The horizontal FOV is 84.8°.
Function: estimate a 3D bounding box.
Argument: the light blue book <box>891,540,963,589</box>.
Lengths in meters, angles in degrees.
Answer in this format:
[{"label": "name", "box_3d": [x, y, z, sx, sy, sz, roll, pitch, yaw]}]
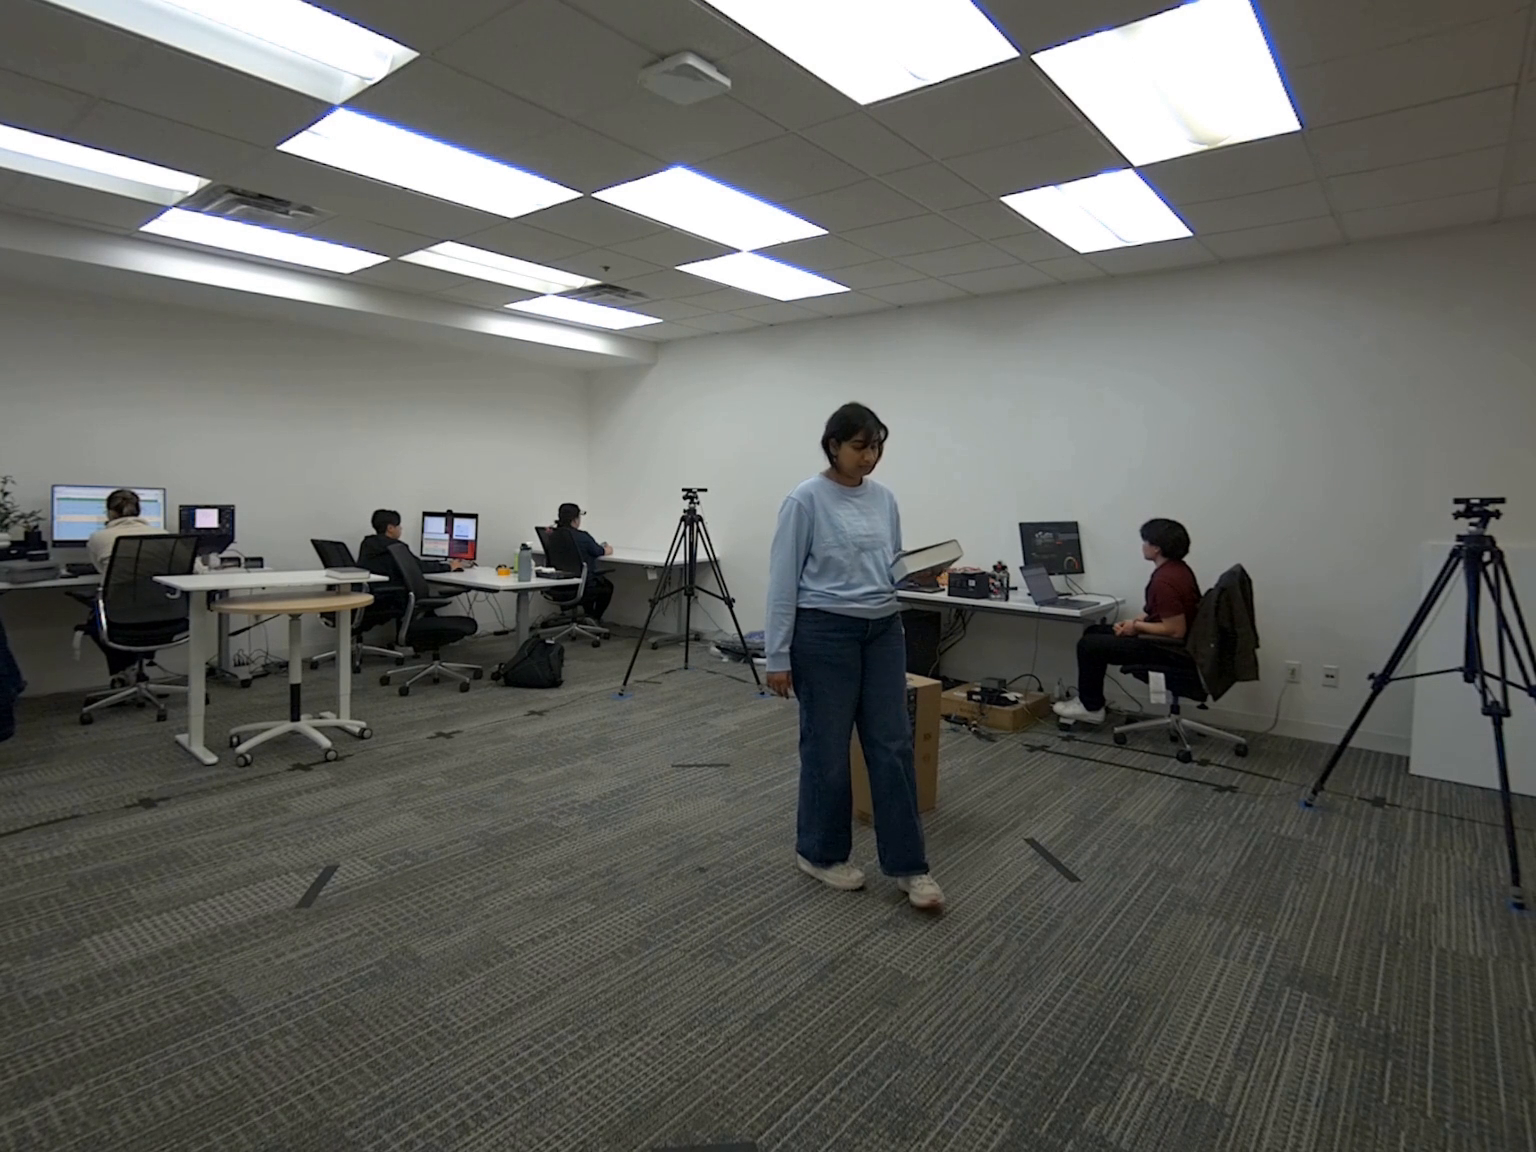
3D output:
[{"label": "light blue book", "box_3d": [0.509, -0.049, 2.770, 0.191, 0.060, 0.258, -15, -9, -3]}]
